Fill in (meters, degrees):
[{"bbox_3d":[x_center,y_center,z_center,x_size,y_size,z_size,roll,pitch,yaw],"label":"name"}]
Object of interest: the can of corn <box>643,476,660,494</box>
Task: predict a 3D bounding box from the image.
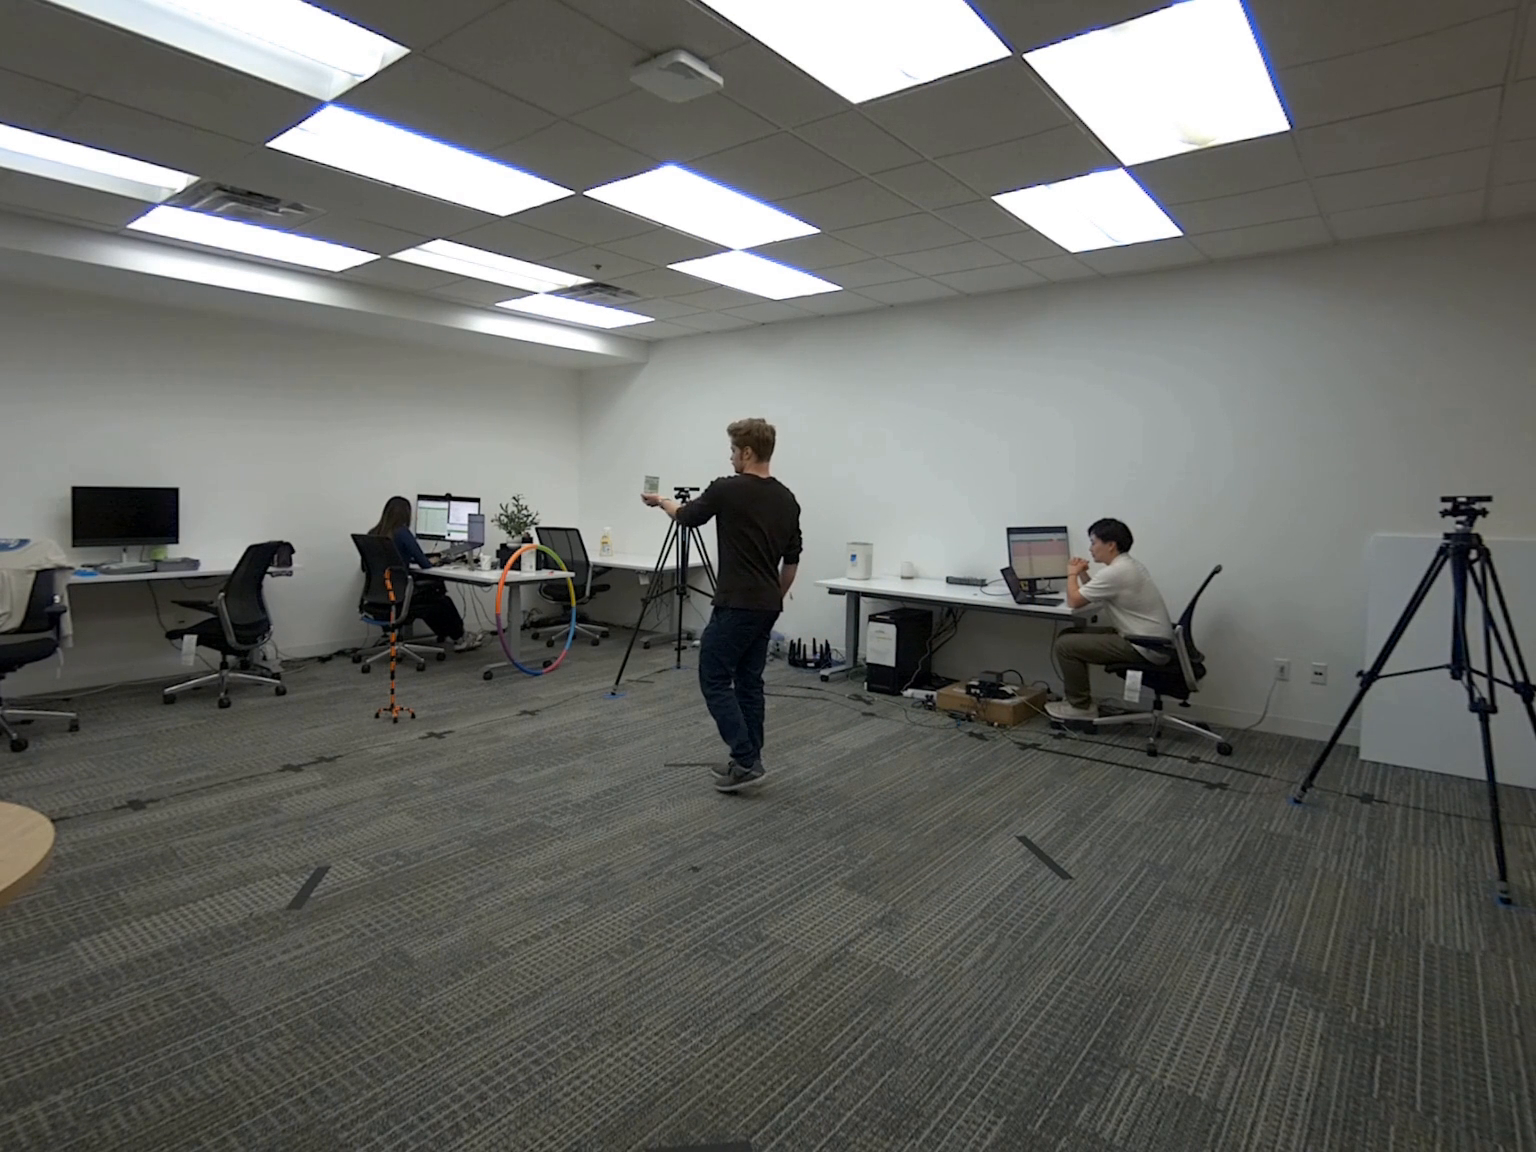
[{"bbox_3d":[-0.600,-0.450,4.312,0.074,0.110,0.074,3,5,-2],"label":"can of corn"}]
